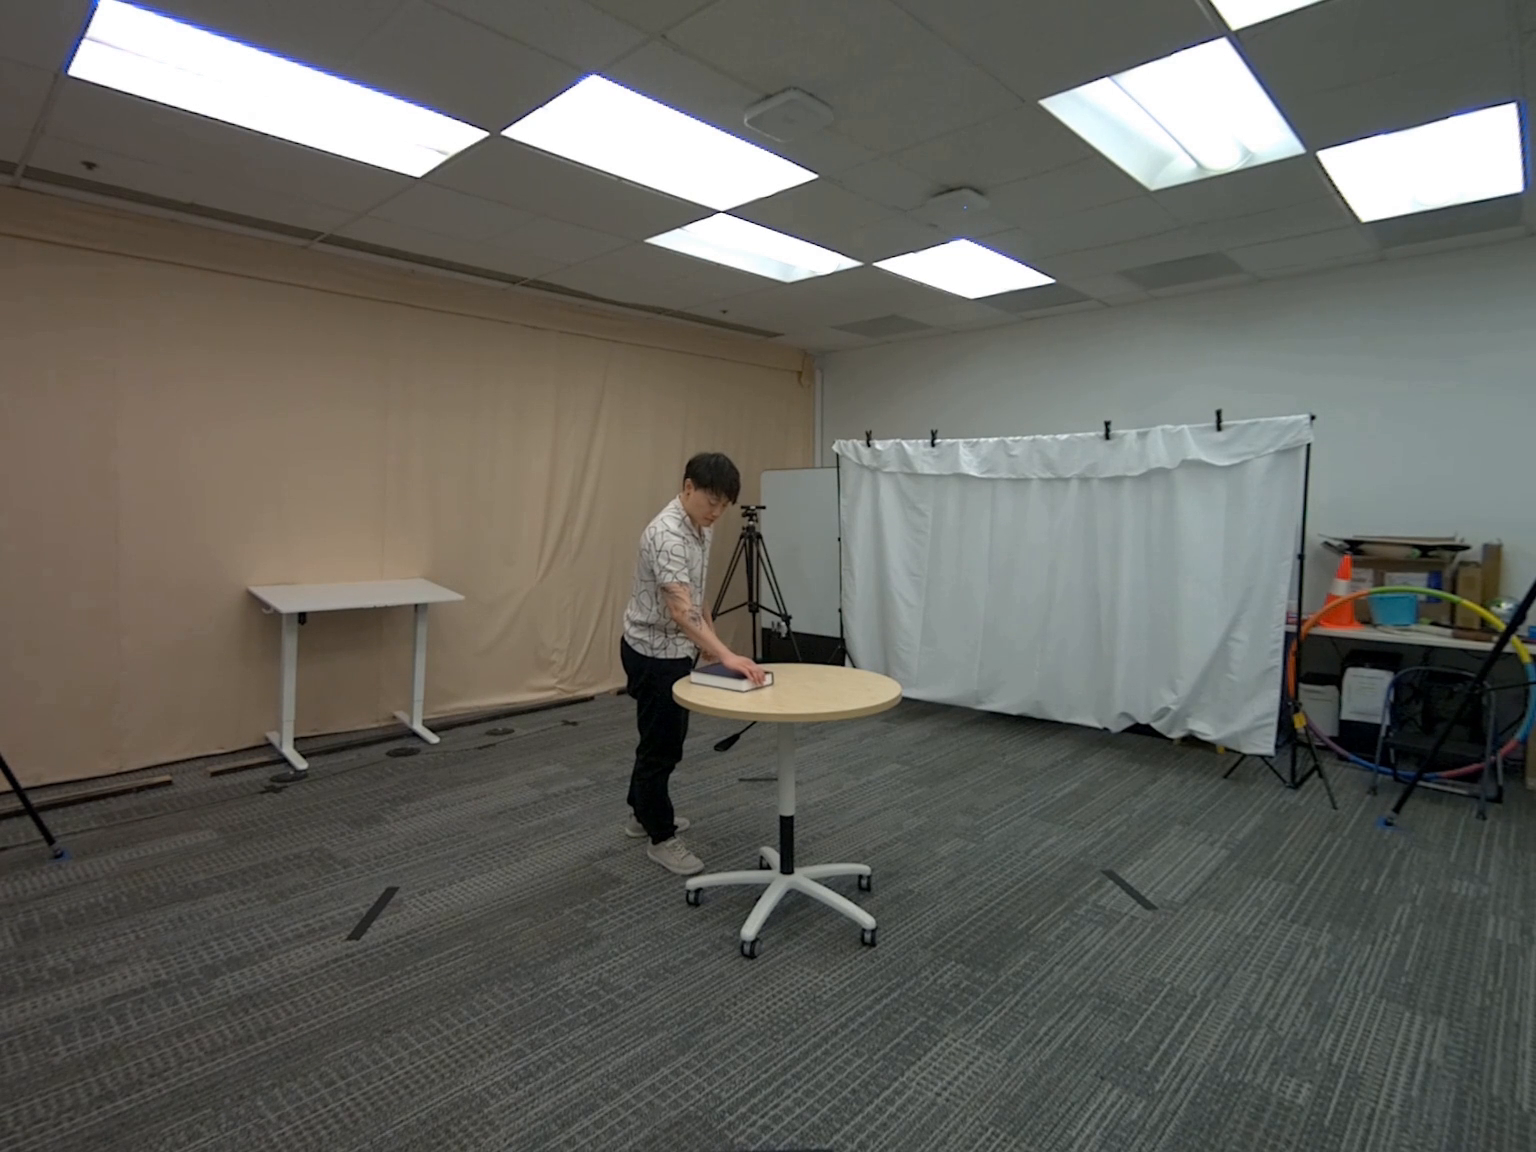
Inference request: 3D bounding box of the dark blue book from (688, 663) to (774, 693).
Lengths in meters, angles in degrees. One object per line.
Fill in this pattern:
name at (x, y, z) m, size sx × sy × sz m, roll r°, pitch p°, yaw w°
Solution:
dark blue book at (-0.125, 0.349, 2.888) m, size 0.253 × 0.045 × 0.158 m, roll 4°, pitch 7°, yaw 40°
